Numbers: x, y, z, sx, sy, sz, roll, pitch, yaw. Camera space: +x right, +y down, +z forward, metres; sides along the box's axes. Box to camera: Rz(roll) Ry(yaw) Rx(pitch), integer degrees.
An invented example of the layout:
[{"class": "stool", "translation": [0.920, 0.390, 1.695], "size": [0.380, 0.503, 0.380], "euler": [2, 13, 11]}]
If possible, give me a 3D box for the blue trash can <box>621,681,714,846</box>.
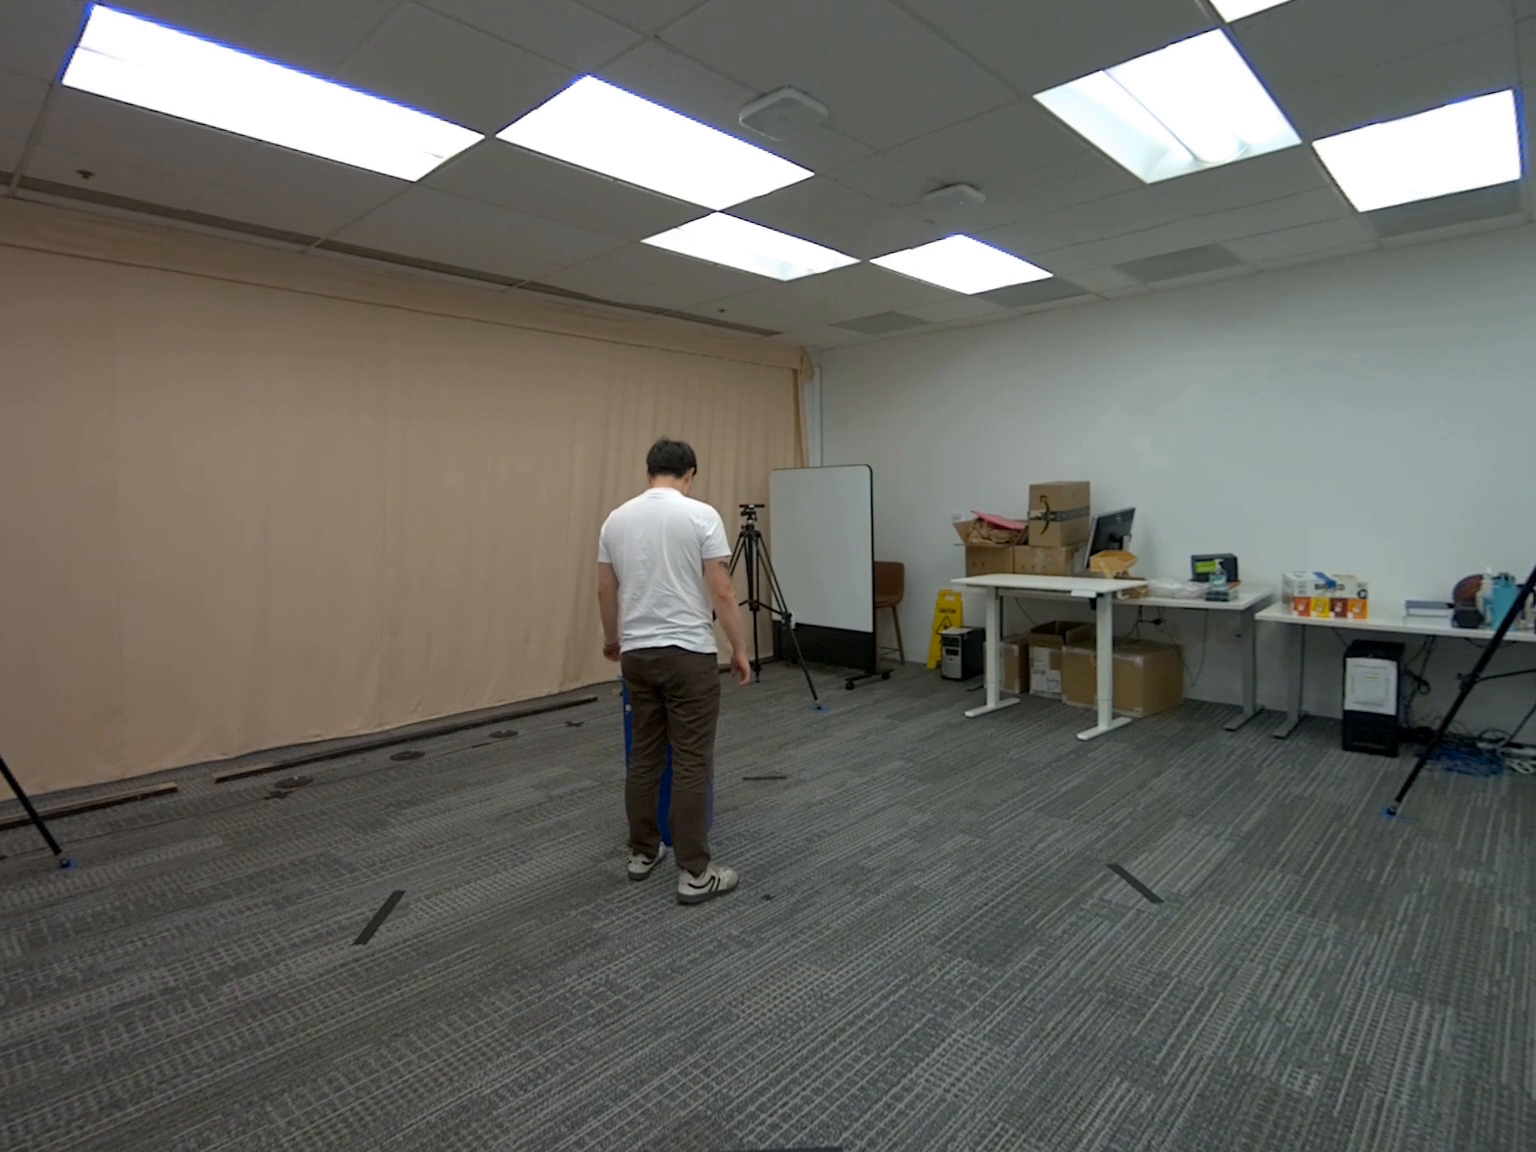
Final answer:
[{"class": "blue trash can", "translation": [-0.417, 0.740, 3.572], "size": [0.381, 0.712, 0.371], "euler": [0, 3, 7]}]
